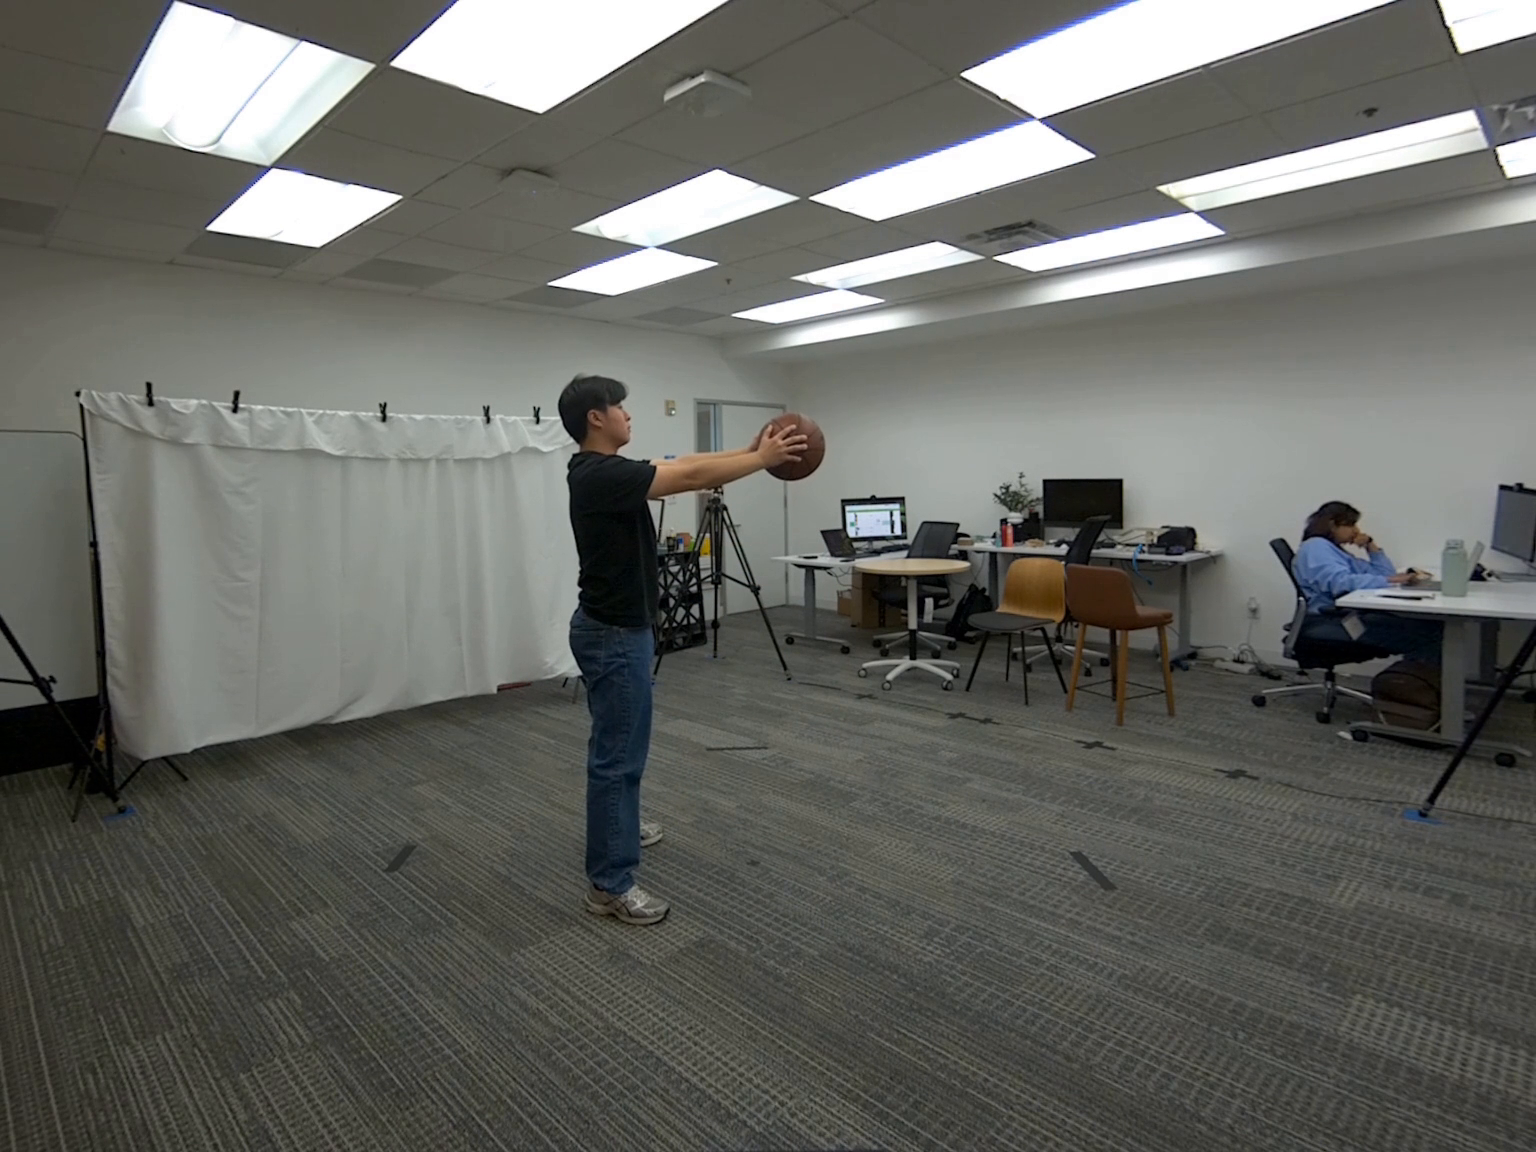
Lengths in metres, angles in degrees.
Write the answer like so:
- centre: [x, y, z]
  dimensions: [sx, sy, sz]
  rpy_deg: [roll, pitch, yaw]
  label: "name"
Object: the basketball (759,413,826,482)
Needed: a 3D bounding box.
- centre: [0.080, -0.448, 2.980]
  dimensions: [0.236, 0.235, 0.237]
  rpy_deg: [-1, 5, -2]
  label: "basketball"
